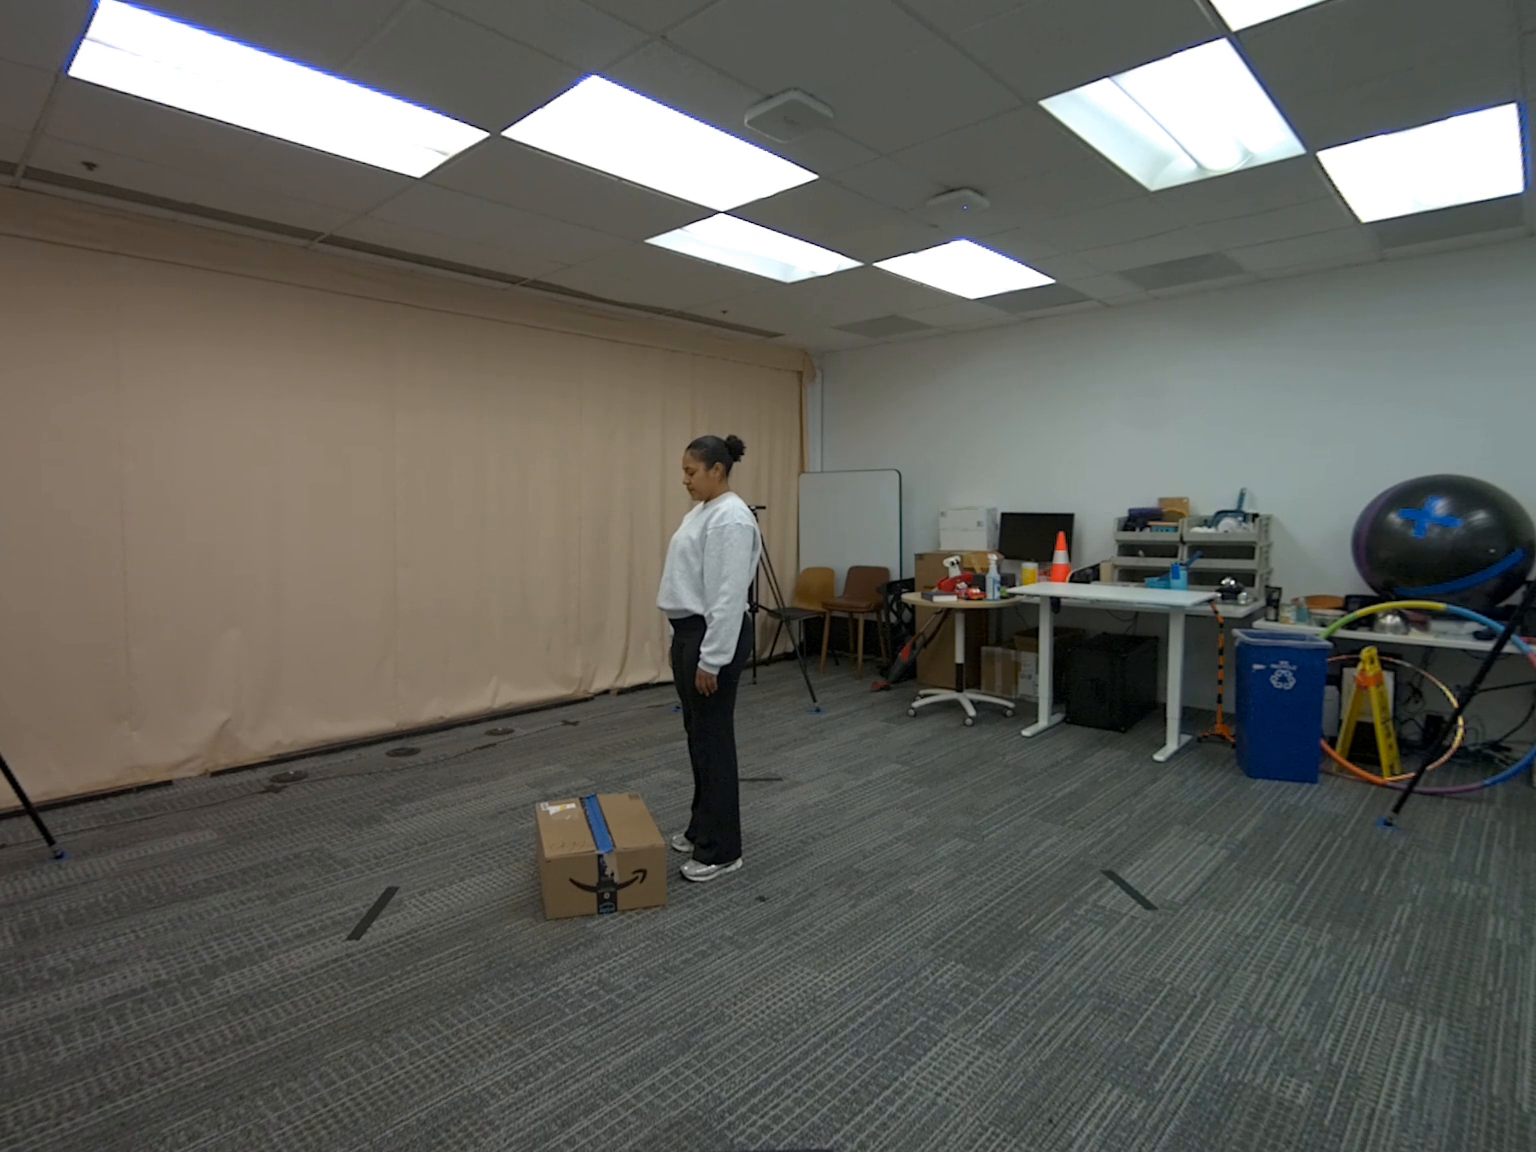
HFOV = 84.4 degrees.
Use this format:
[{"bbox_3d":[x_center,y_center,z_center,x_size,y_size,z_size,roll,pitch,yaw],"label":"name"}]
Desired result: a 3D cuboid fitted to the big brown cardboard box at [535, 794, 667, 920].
[{"bbox_3d":[-0.639,1.022,3.150,0.410,0.232,0.601,-2,6,-18],"label":"big brown cardboard box"}]
